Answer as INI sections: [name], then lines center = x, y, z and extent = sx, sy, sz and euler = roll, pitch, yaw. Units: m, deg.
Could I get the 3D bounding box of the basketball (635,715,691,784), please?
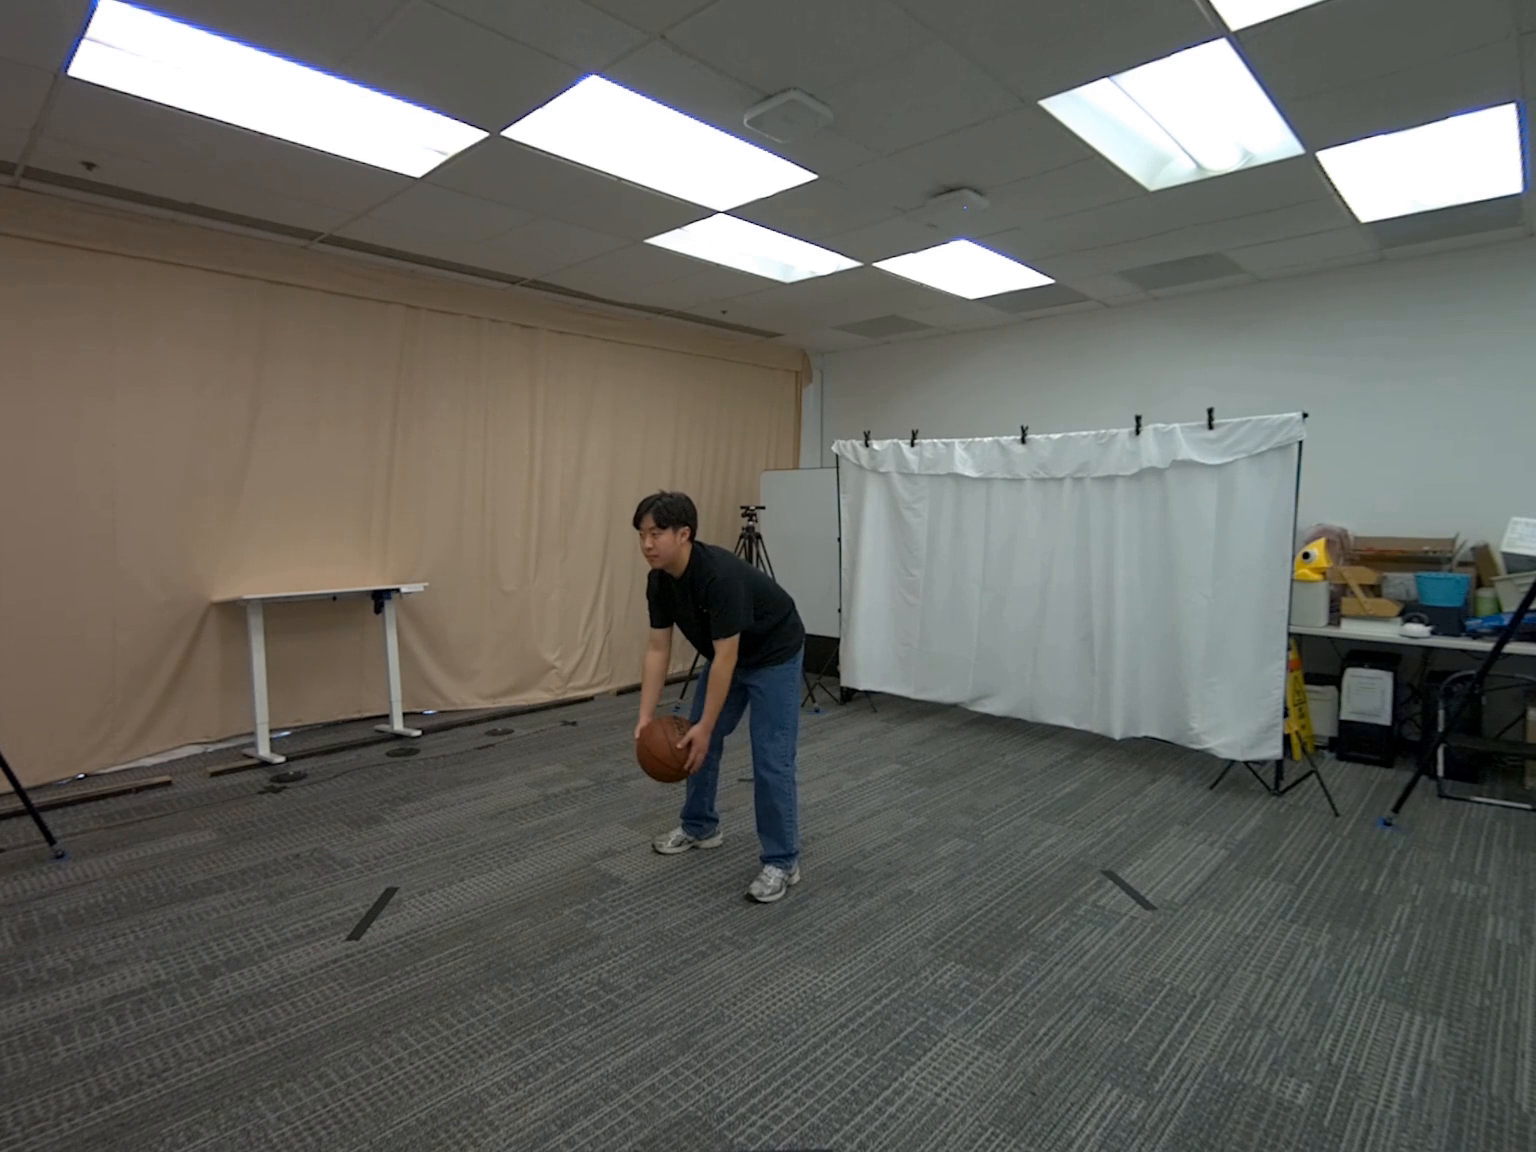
[basketball]
center = -0.334, 0.601, 3.022
extent = 0.236, 0.235, 0.237
euler = 0, 4, -2
